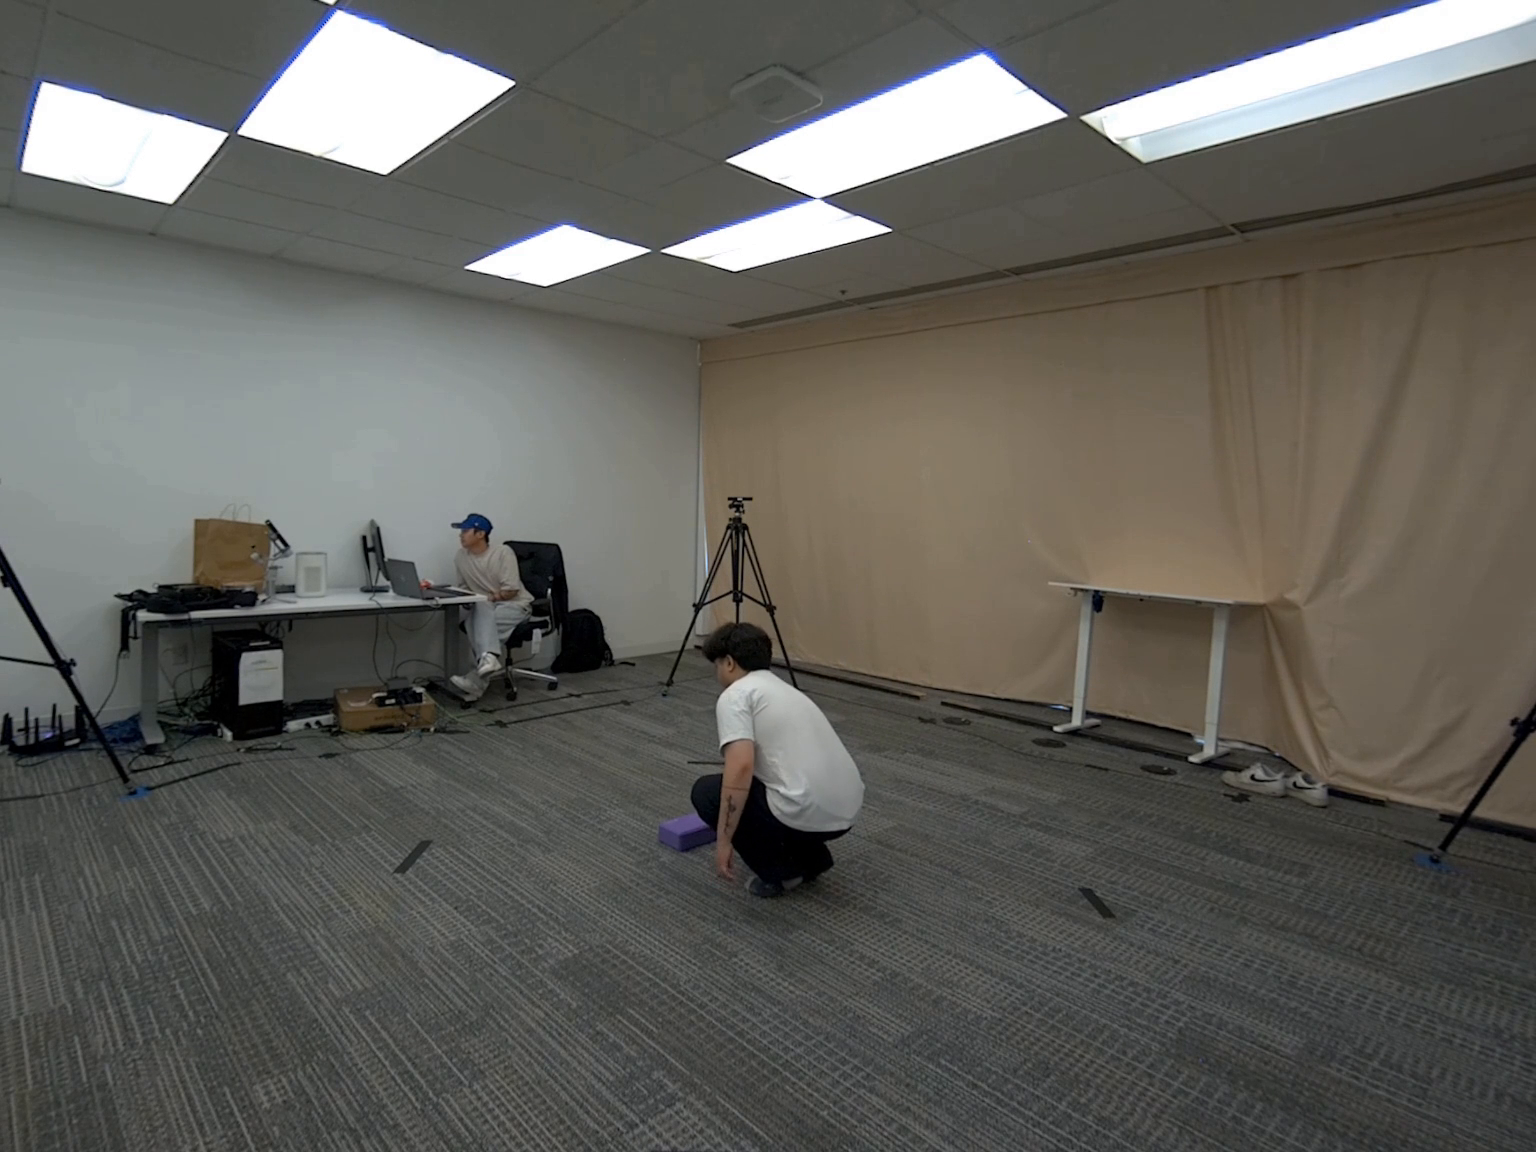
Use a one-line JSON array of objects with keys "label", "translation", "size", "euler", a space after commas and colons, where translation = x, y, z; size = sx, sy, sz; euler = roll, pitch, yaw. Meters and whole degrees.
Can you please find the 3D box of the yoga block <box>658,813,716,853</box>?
[{"label": "yoga block", "translation": [-0.317, 1.033, 3.423], "size": [0.153, 0.076, 0.224], "euler": [5, 6, 44]}]
